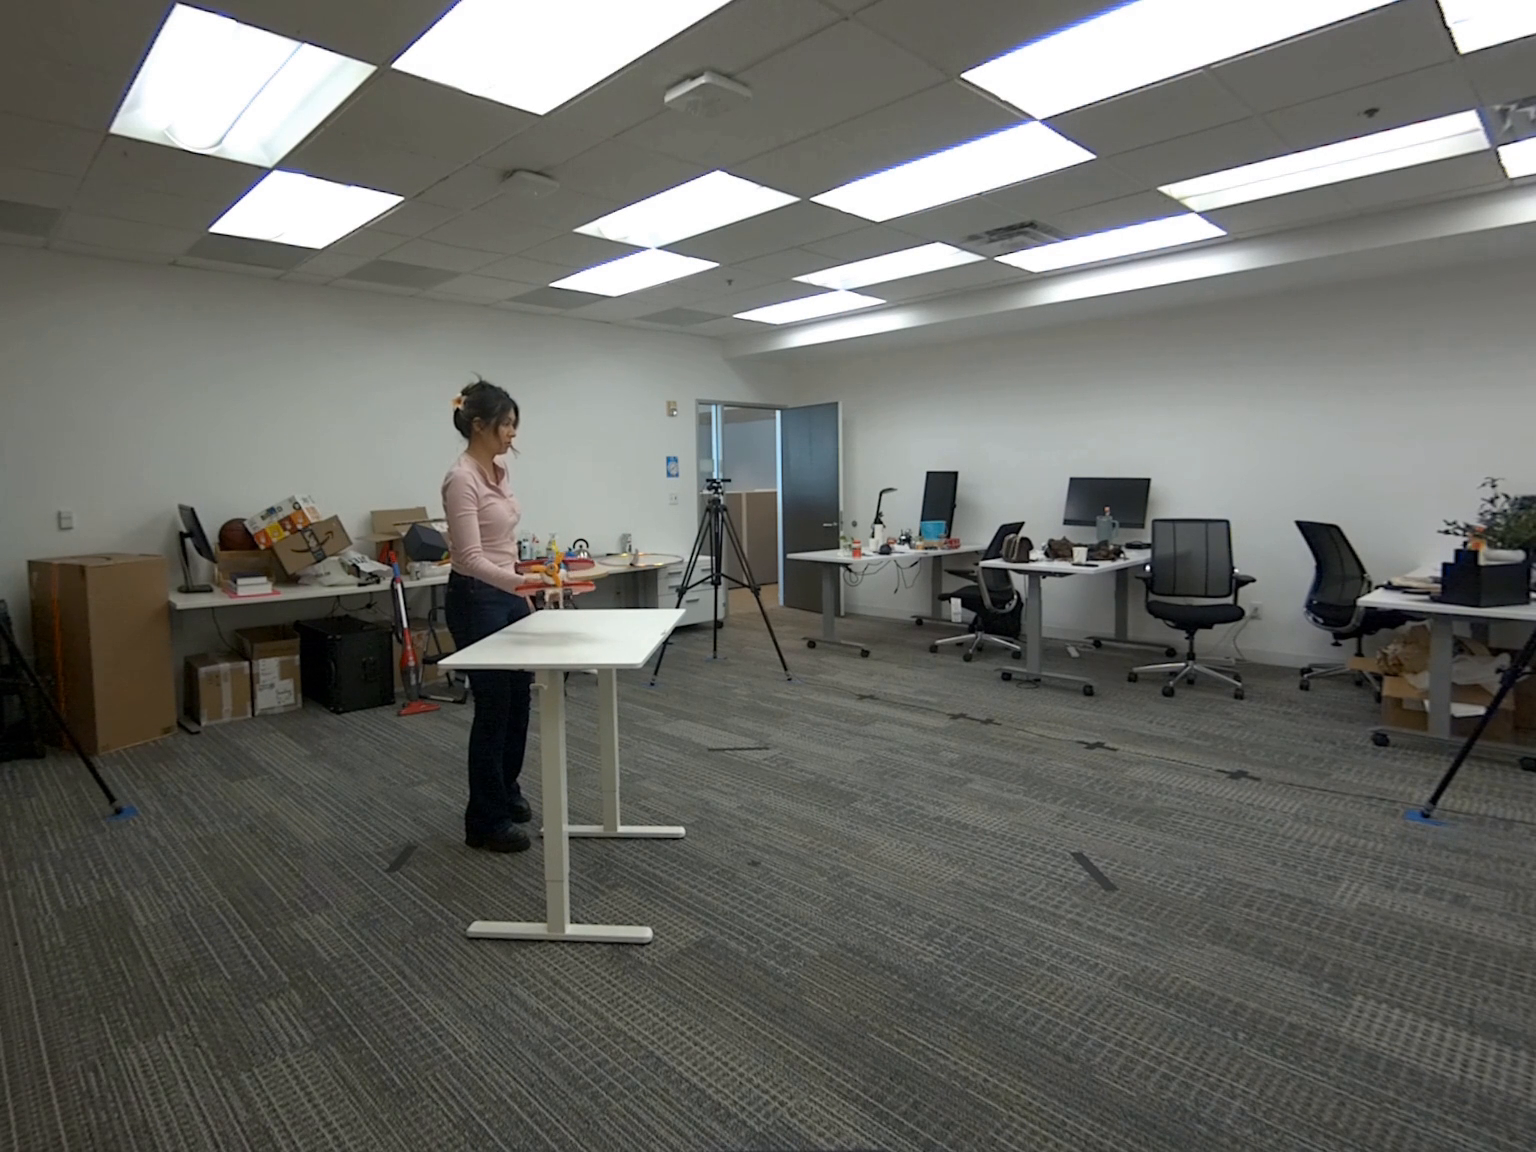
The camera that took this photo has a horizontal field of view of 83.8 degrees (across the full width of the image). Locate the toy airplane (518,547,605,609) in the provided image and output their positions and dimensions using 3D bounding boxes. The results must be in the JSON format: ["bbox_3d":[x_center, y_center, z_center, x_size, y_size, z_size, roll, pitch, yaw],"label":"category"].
[{"bbox_3d":[-0.712,0.030,2.810,0.245,0.157,0.264,-1,-7,-32],"label":"toy airplane"}]
